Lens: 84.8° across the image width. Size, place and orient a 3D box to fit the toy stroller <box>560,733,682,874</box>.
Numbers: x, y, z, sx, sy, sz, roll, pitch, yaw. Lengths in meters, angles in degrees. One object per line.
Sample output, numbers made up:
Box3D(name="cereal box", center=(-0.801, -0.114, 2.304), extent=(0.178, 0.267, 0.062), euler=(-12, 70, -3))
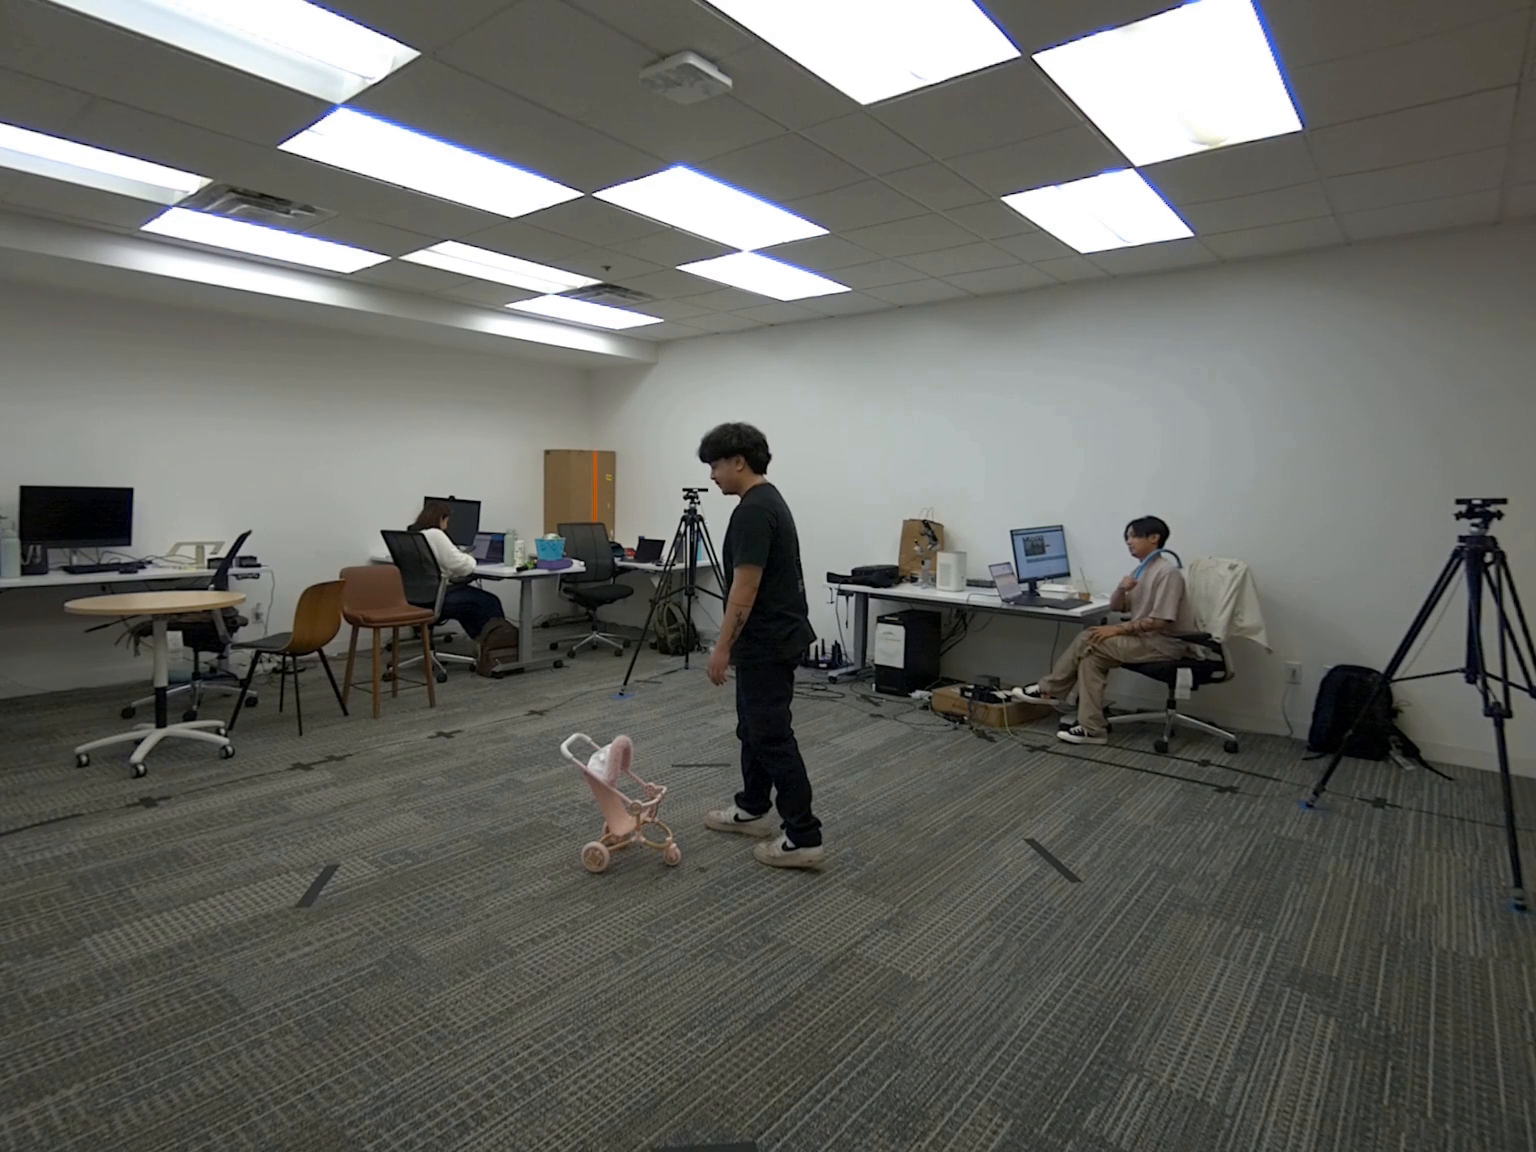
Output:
Box3D(name="toy stroller", center=(-0.546, 0.834, 3.164), extent=(0.345, 0.536, 0.278), euler=(-14, 0, 15))
